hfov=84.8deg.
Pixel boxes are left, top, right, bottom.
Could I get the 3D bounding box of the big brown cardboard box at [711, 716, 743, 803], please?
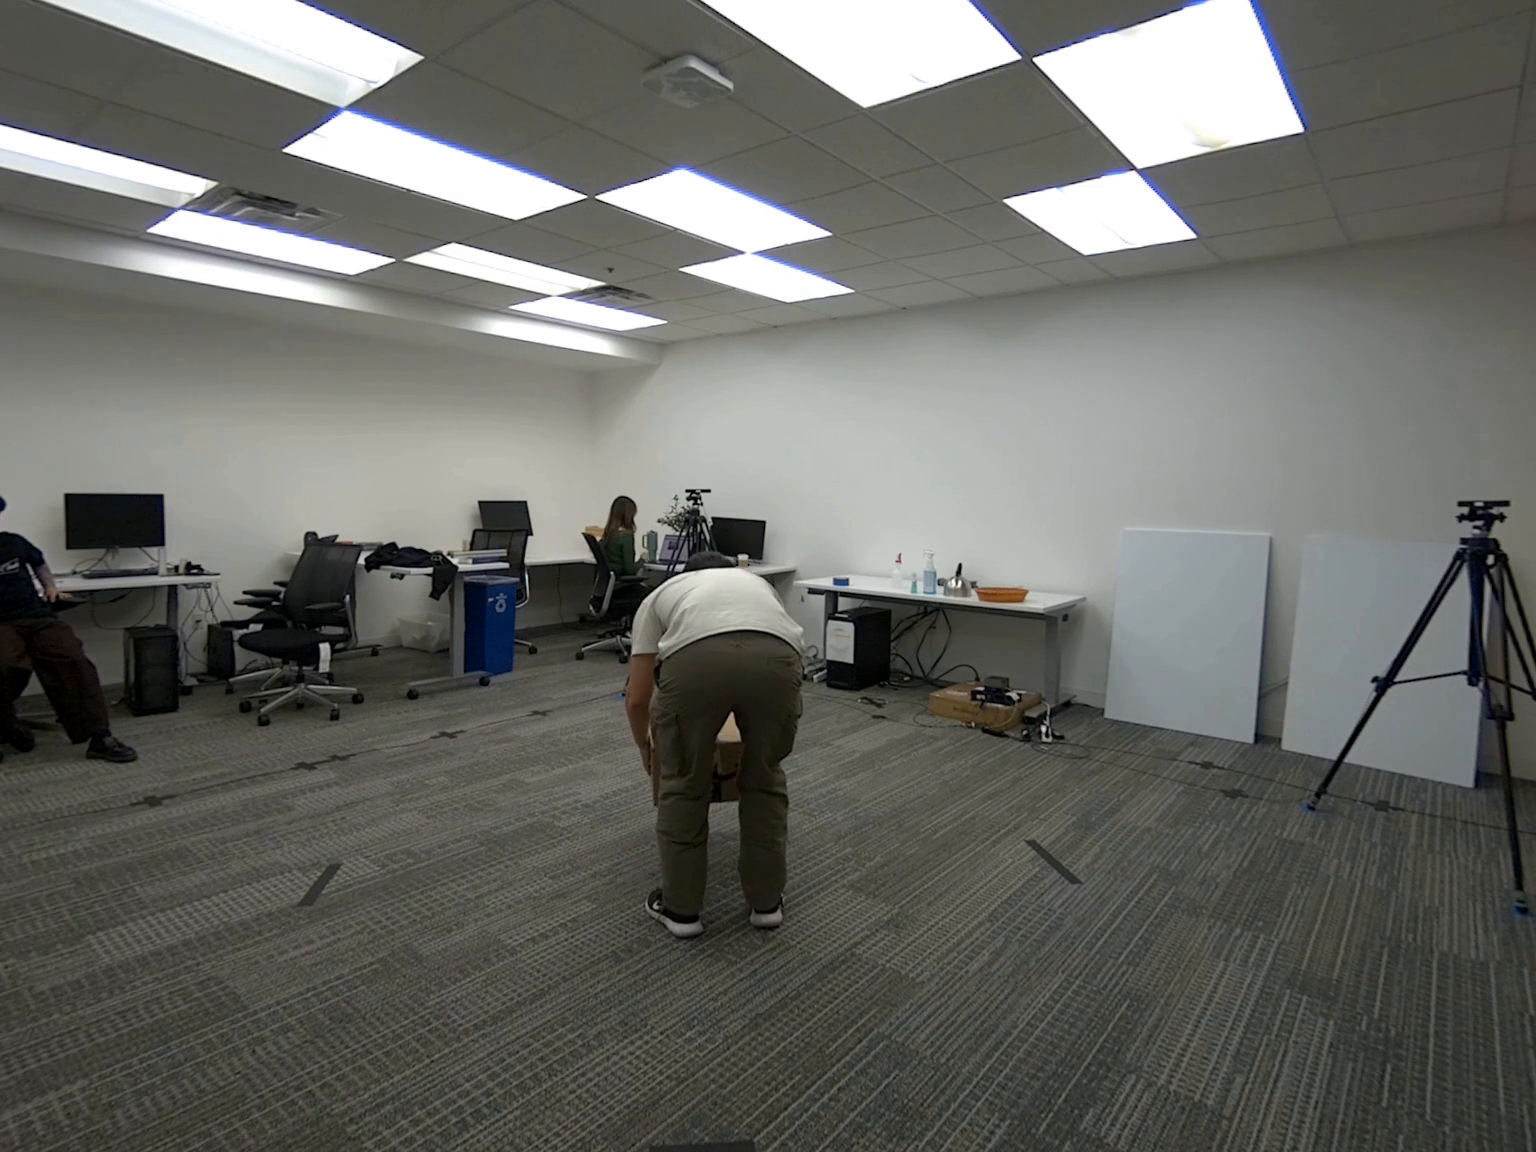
[{"bbox_3d":[-0.260,0.652,3.277,0.414,0.232,0.598,-3,8,-10],"label":"big brown cardboard box"}]
